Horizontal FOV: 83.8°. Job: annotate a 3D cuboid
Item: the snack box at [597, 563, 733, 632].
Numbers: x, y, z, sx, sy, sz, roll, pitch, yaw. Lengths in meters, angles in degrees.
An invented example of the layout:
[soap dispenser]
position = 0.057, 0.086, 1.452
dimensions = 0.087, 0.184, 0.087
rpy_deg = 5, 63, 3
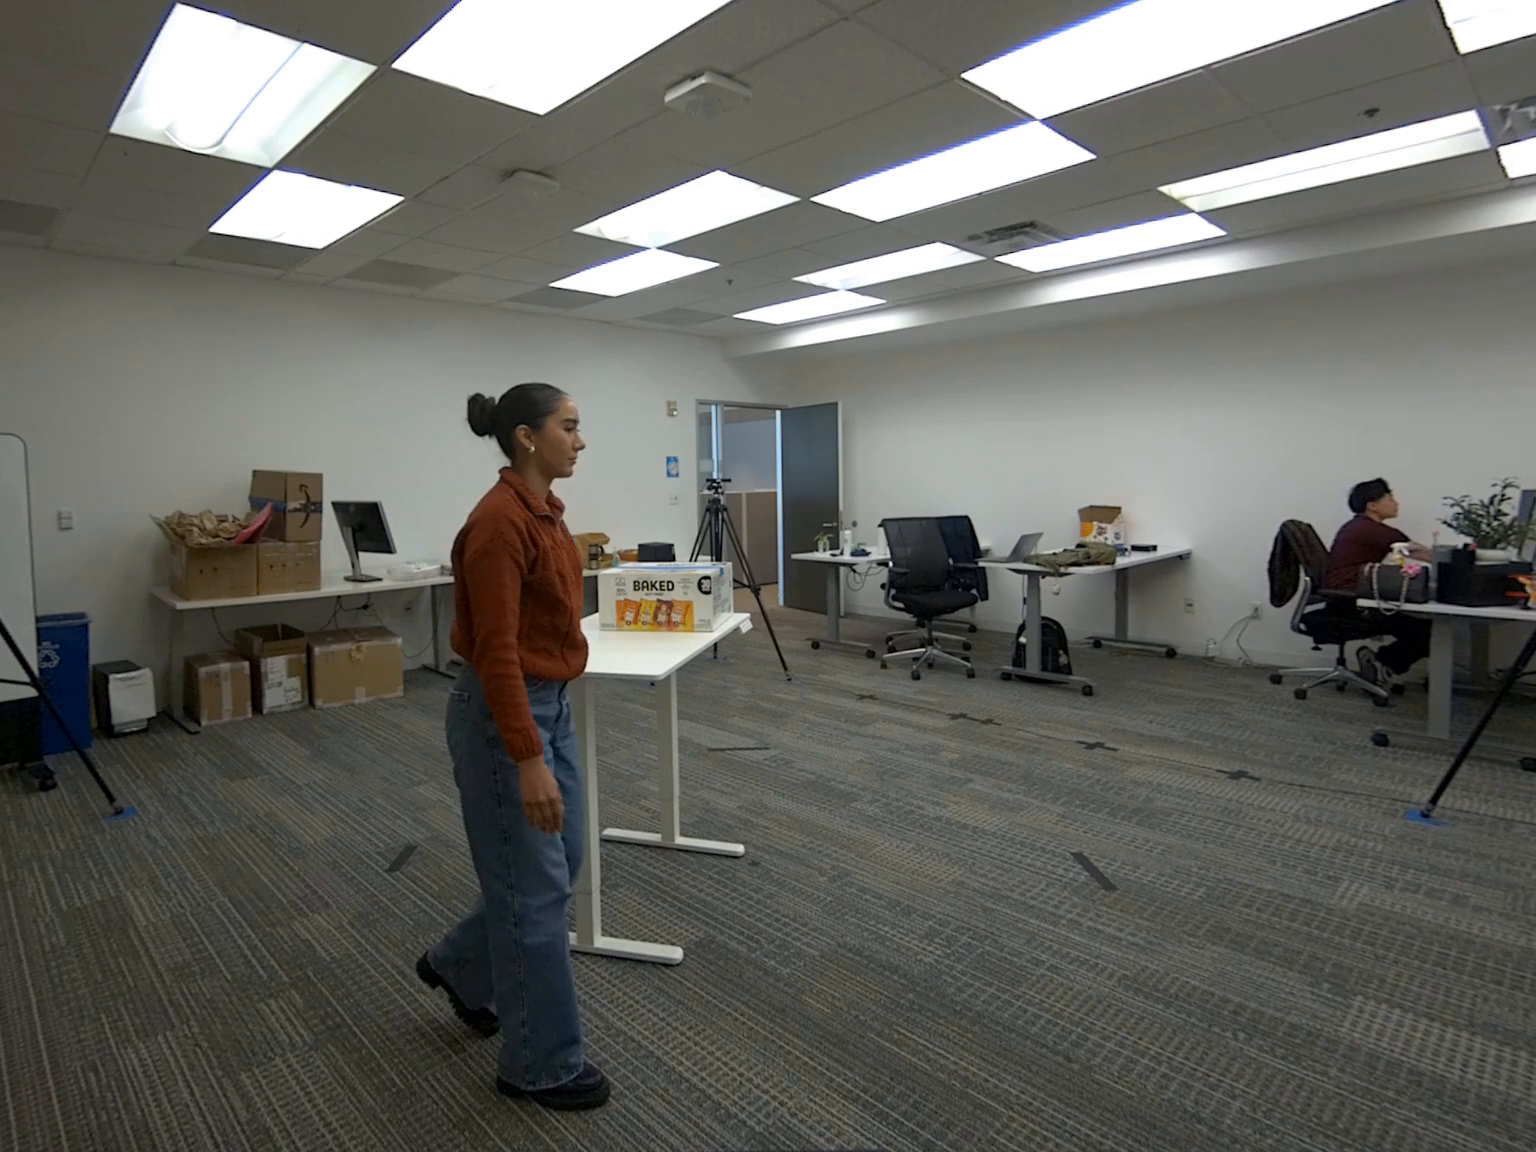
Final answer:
[snack box]
position = -0.358, 0.070, 3.076
dimensions = 0.410, 0.205, 0.338
rpy_deg = 0, 6, 11
